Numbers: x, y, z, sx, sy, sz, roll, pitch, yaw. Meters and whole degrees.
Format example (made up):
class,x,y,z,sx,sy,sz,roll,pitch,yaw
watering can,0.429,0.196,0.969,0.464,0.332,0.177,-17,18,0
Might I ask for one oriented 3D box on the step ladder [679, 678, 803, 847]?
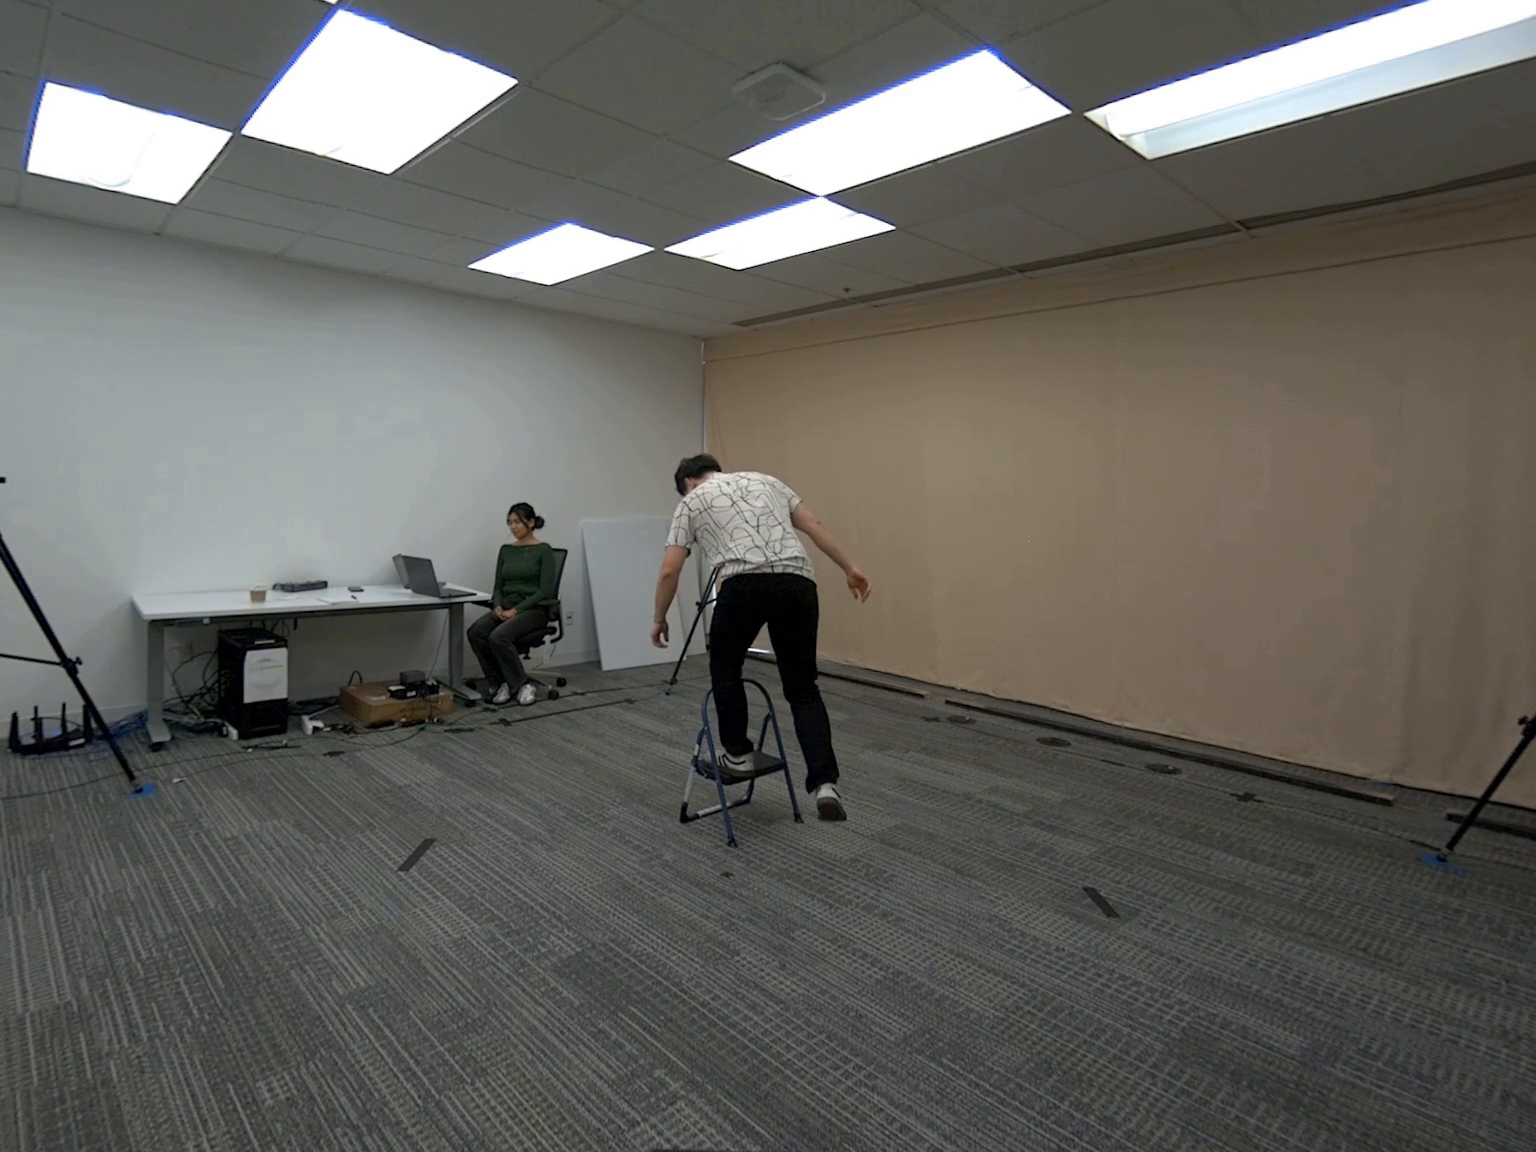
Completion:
class,x,y,z,sx,sy,sz,roll,pitch,yaw
step ladder,-0.116,0.756,3.604,0.358,0.605,0.421,4,4,44
